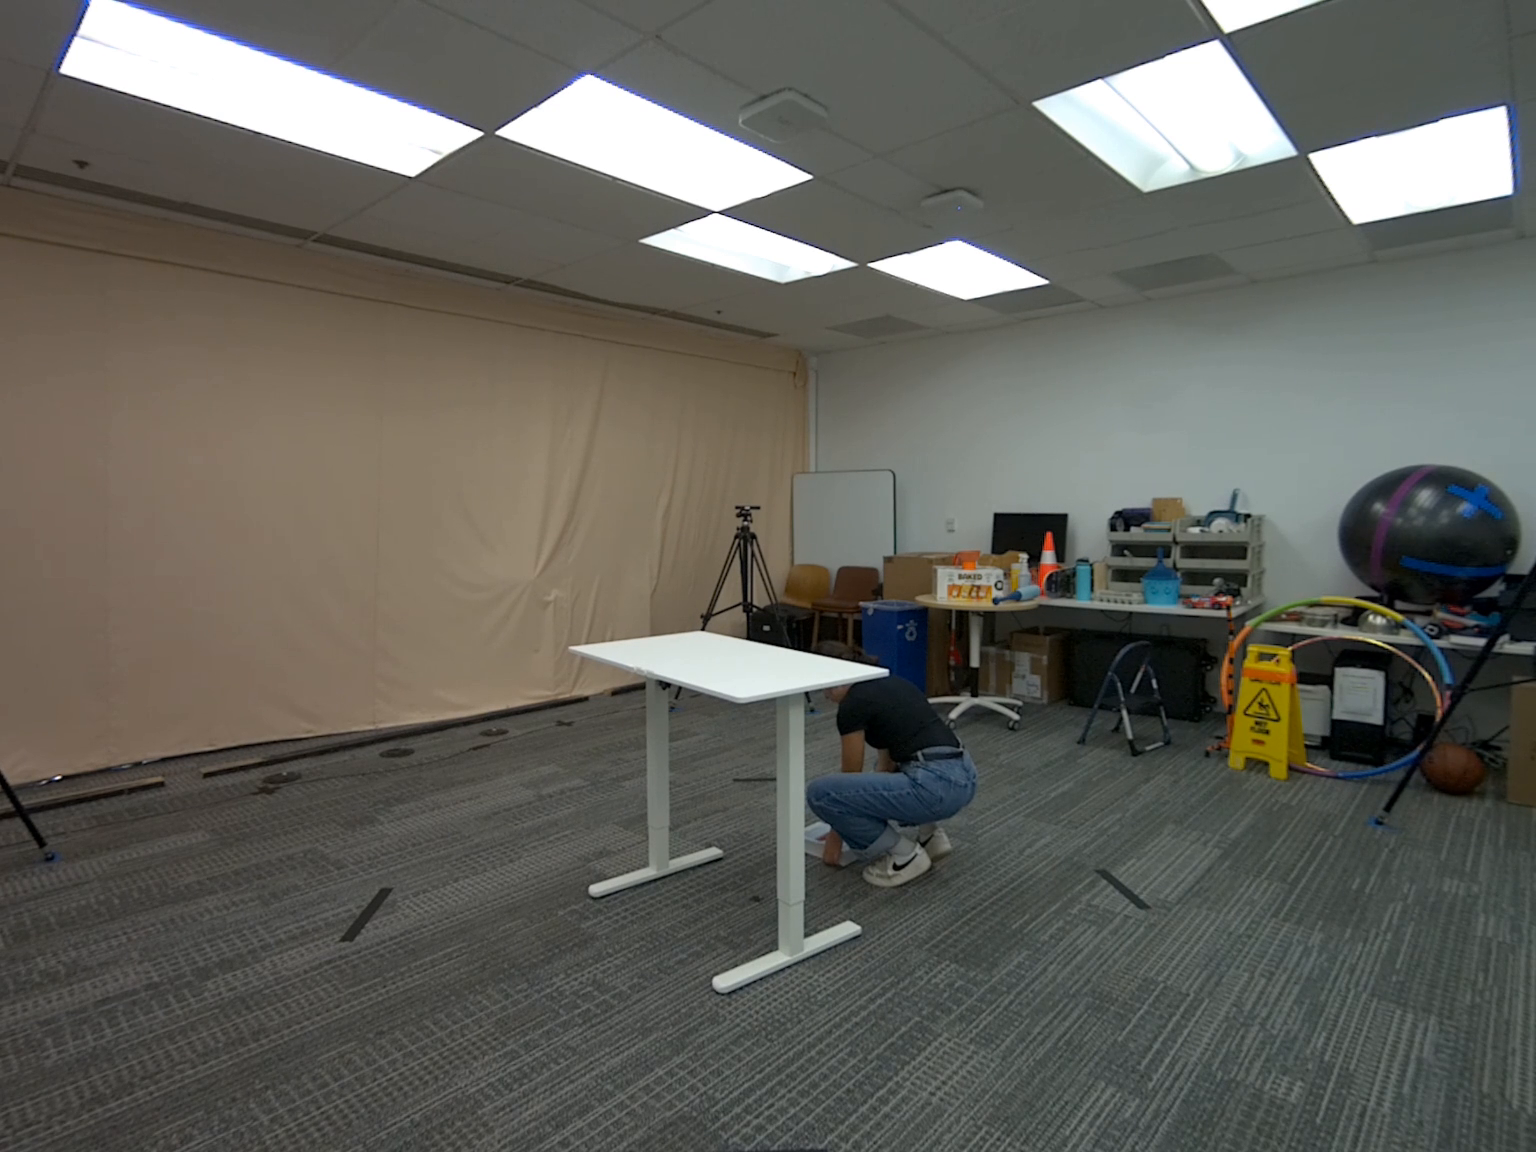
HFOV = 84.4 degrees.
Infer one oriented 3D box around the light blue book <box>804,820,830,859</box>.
[{"bbox_3d":[0.261,1.085,3.412,0.270,0.059,0.185,3,6,42],"label":"light blue book"}]
